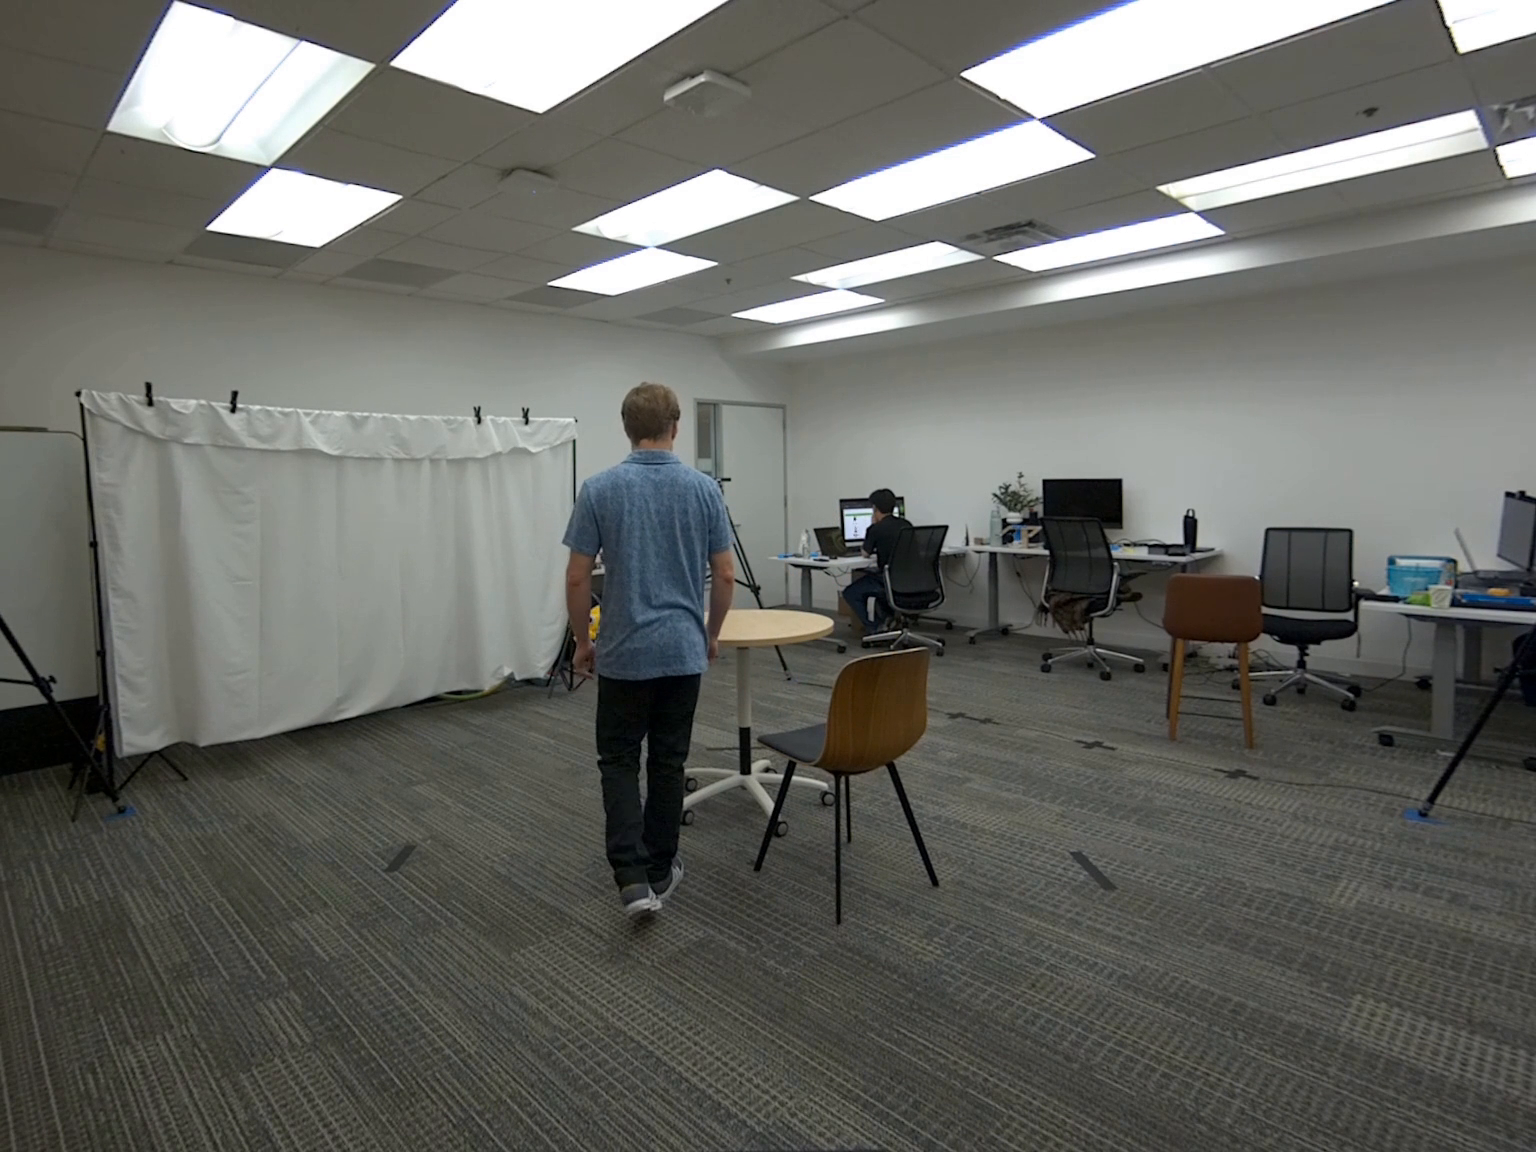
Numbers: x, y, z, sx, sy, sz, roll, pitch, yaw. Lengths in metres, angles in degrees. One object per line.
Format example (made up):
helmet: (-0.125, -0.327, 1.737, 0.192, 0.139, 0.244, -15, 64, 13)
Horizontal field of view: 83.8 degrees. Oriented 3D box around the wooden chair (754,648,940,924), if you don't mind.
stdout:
wooden chair: (0.256, 0.626, 2.948, 0.466, 0.871, 0.540, -4, 10, -35)
